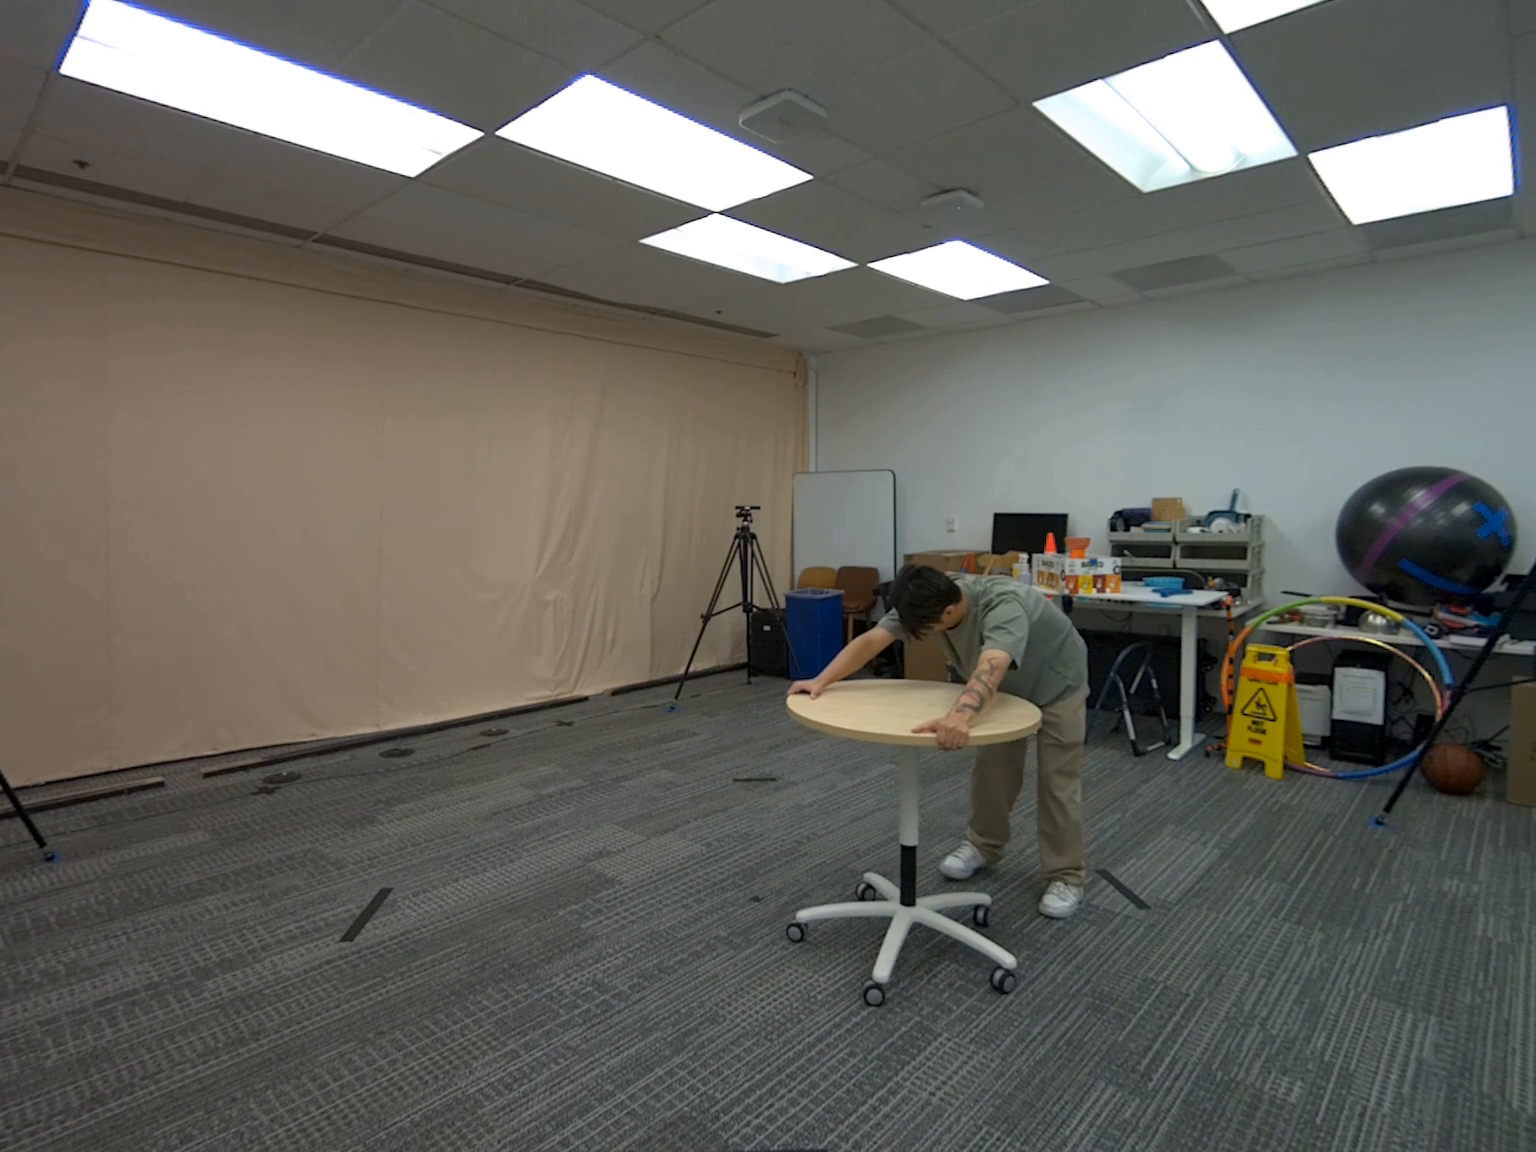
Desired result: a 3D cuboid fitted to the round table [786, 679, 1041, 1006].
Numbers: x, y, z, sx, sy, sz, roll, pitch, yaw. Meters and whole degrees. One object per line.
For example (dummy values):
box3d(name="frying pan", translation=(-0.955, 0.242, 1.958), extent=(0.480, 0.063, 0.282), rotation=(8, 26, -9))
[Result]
box3d(name="round table", translation=(0.449, 0.788, 2.618), extent=(0.784, 0.785, 0.788), rotation=(-1, 4, -2))
